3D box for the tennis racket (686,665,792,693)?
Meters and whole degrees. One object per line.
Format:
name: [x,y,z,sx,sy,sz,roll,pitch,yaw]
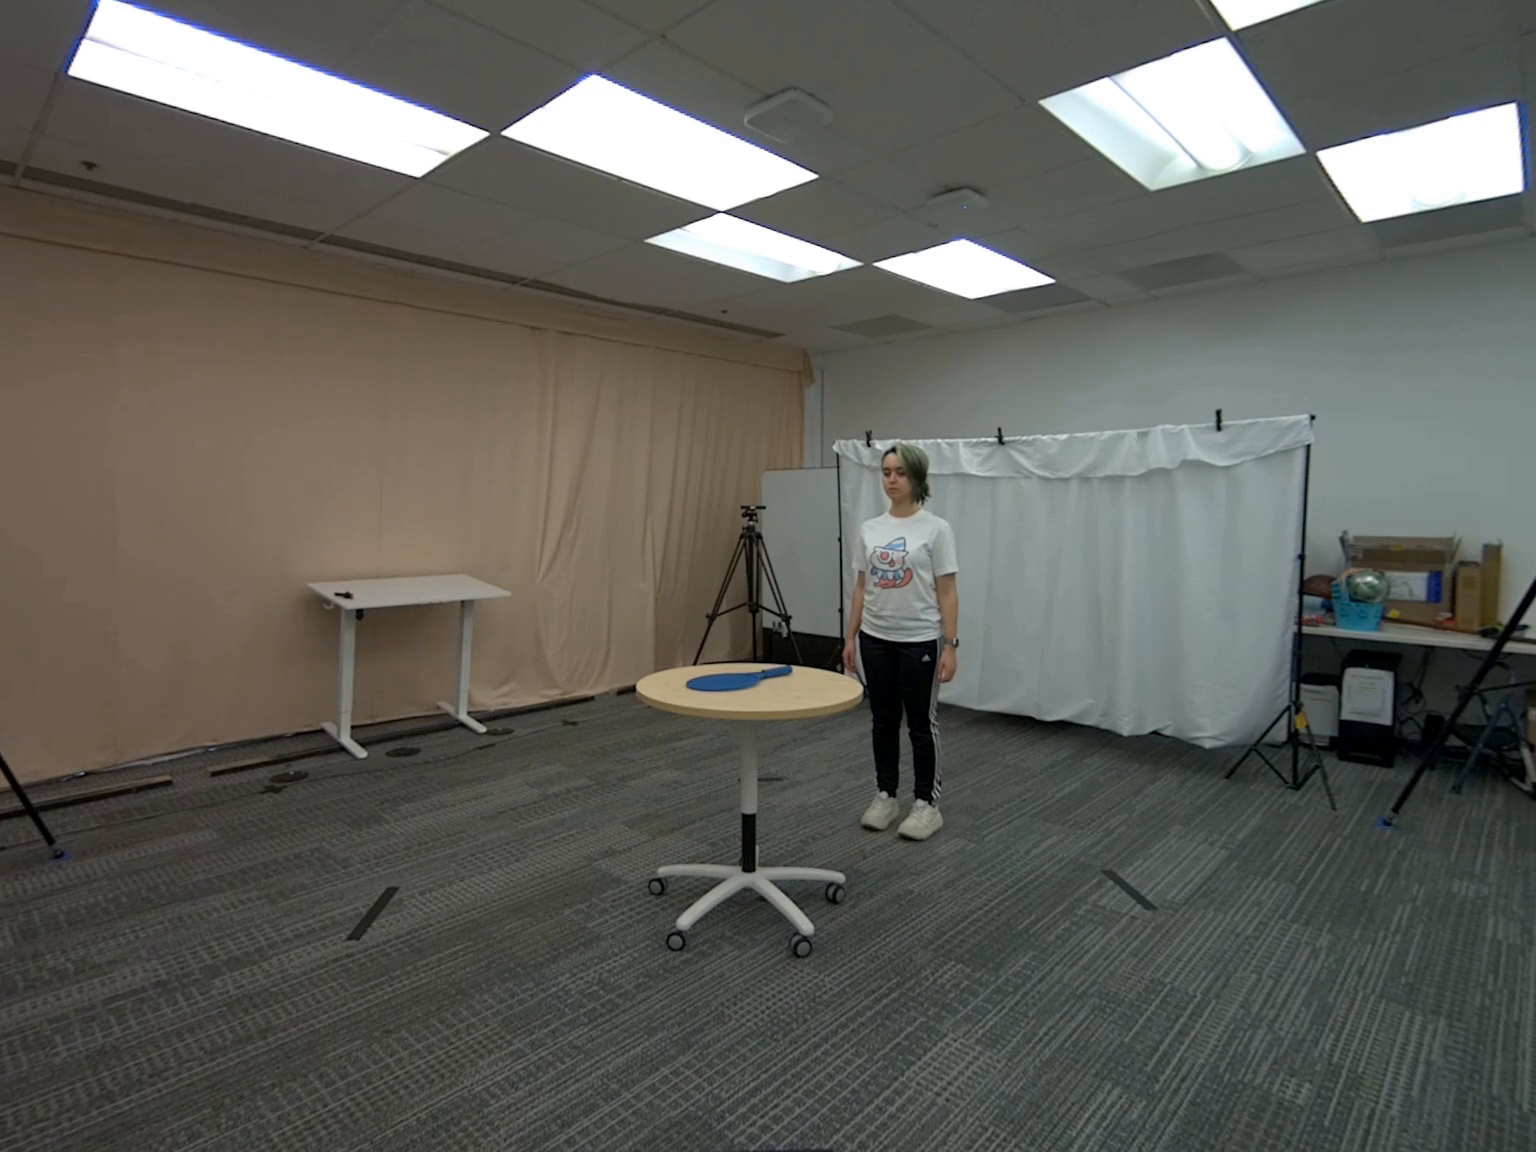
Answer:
tennis racket: [-0.084,0.359,2.898,0.421,0.031,0.220,-5,8,-34]
